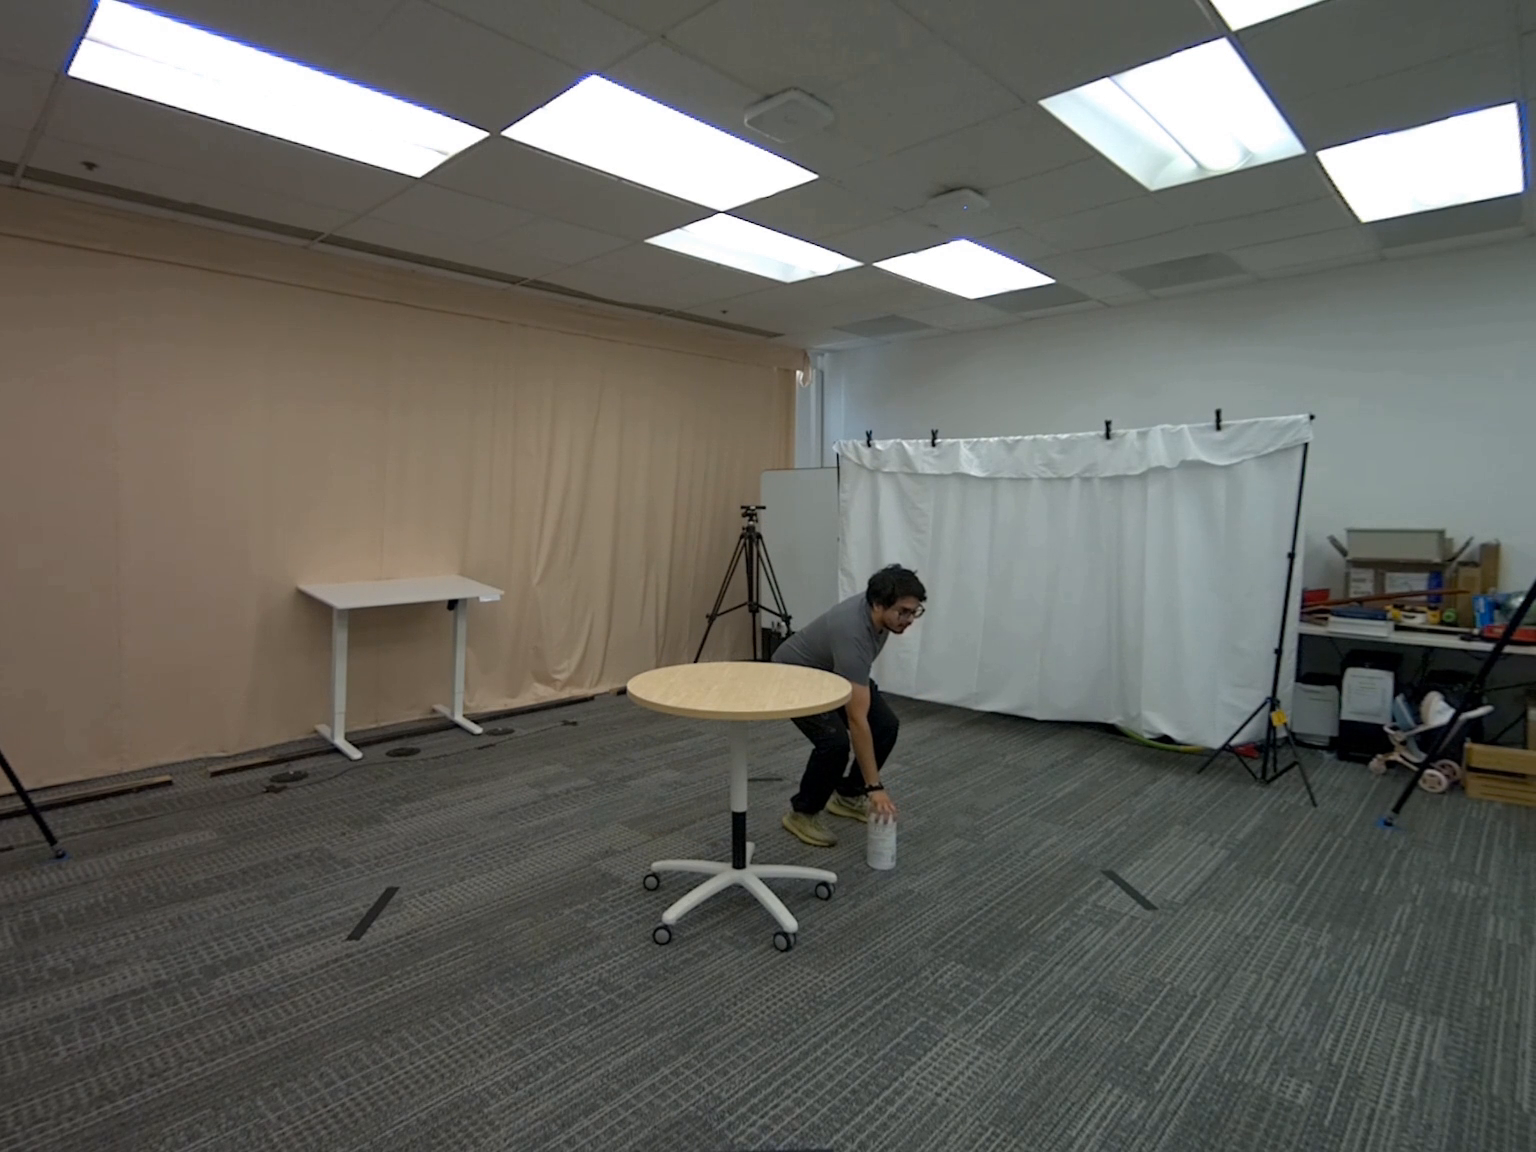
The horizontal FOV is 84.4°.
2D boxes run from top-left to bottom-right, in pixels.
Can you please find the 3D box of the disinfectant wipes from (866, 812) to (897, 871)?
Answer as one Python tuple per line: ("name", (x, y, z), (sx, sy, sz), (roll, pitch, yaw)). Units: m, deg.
("disinfectant wipes", (0.440, 1.010, 3.258), (0.118, 0.217, 0.118), (-1, 5, -2))
